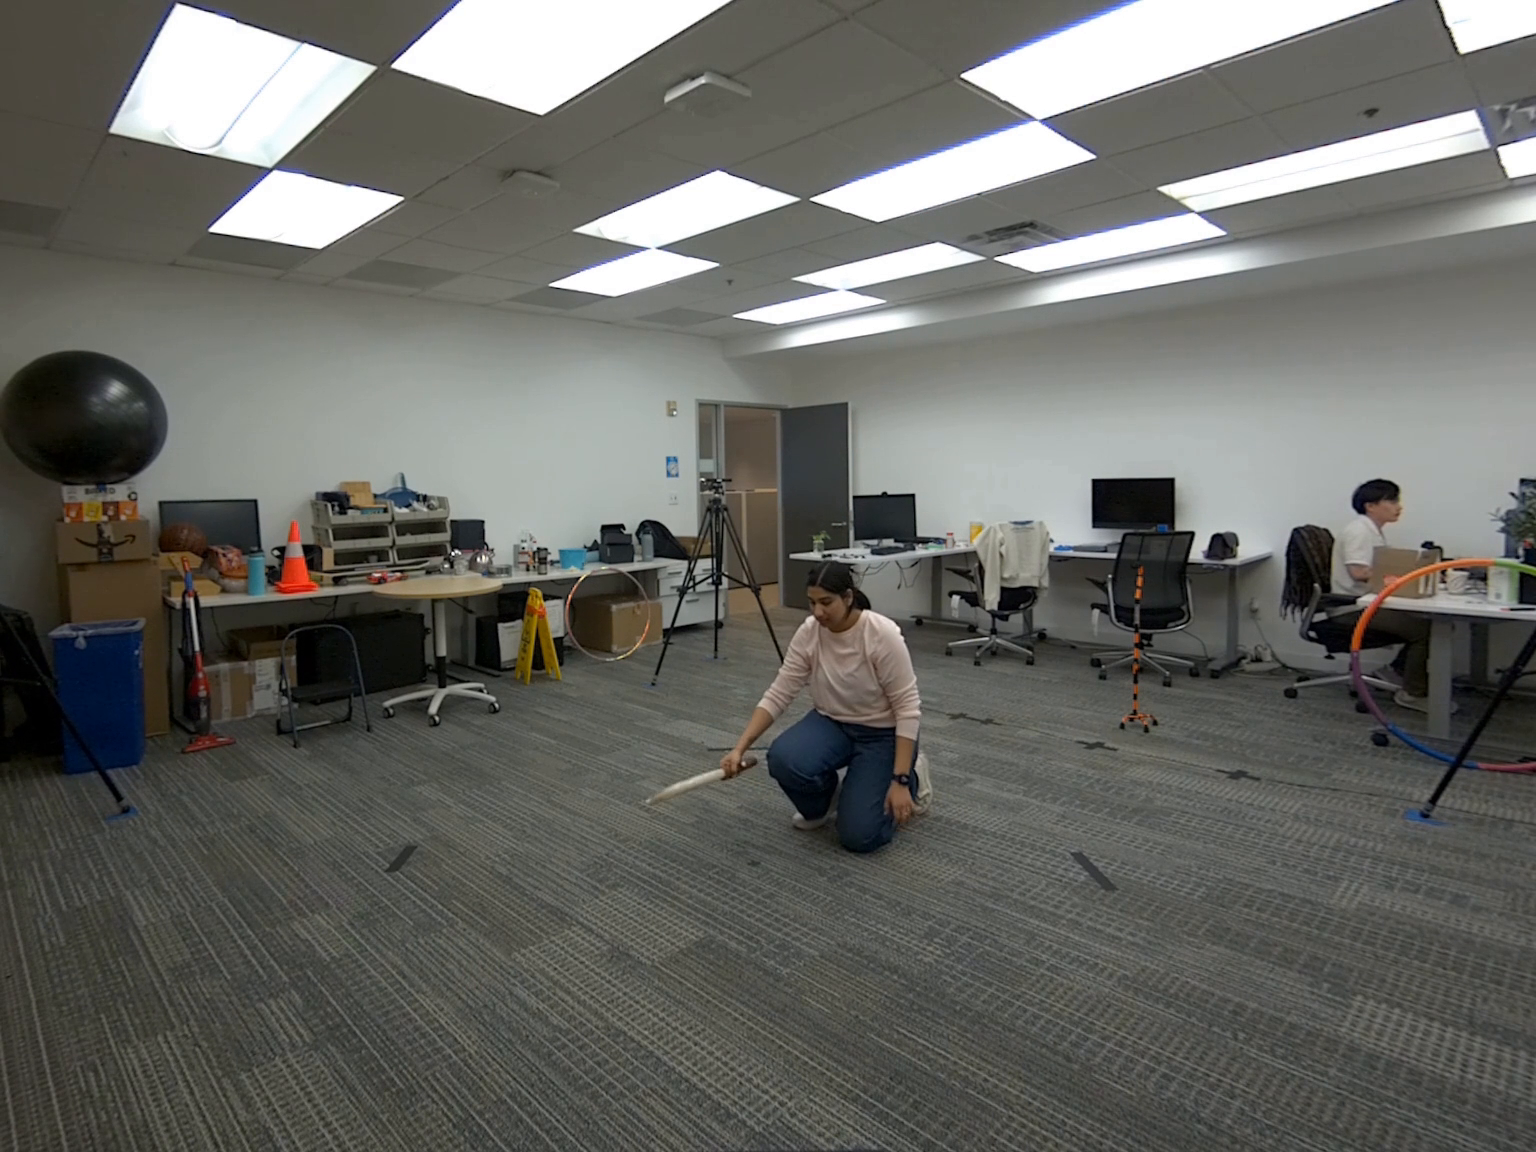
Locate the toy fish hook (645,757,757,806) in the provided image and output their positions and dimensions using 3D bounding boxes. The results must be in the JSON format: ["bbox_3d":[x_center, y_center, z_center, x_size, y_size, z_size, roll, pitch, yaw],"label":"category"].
[{"bbox_3d":[-0.233,0.743,3.102,0.227,0.049,0.492,-29,-16,36],"label":"toy fish hook"}]
